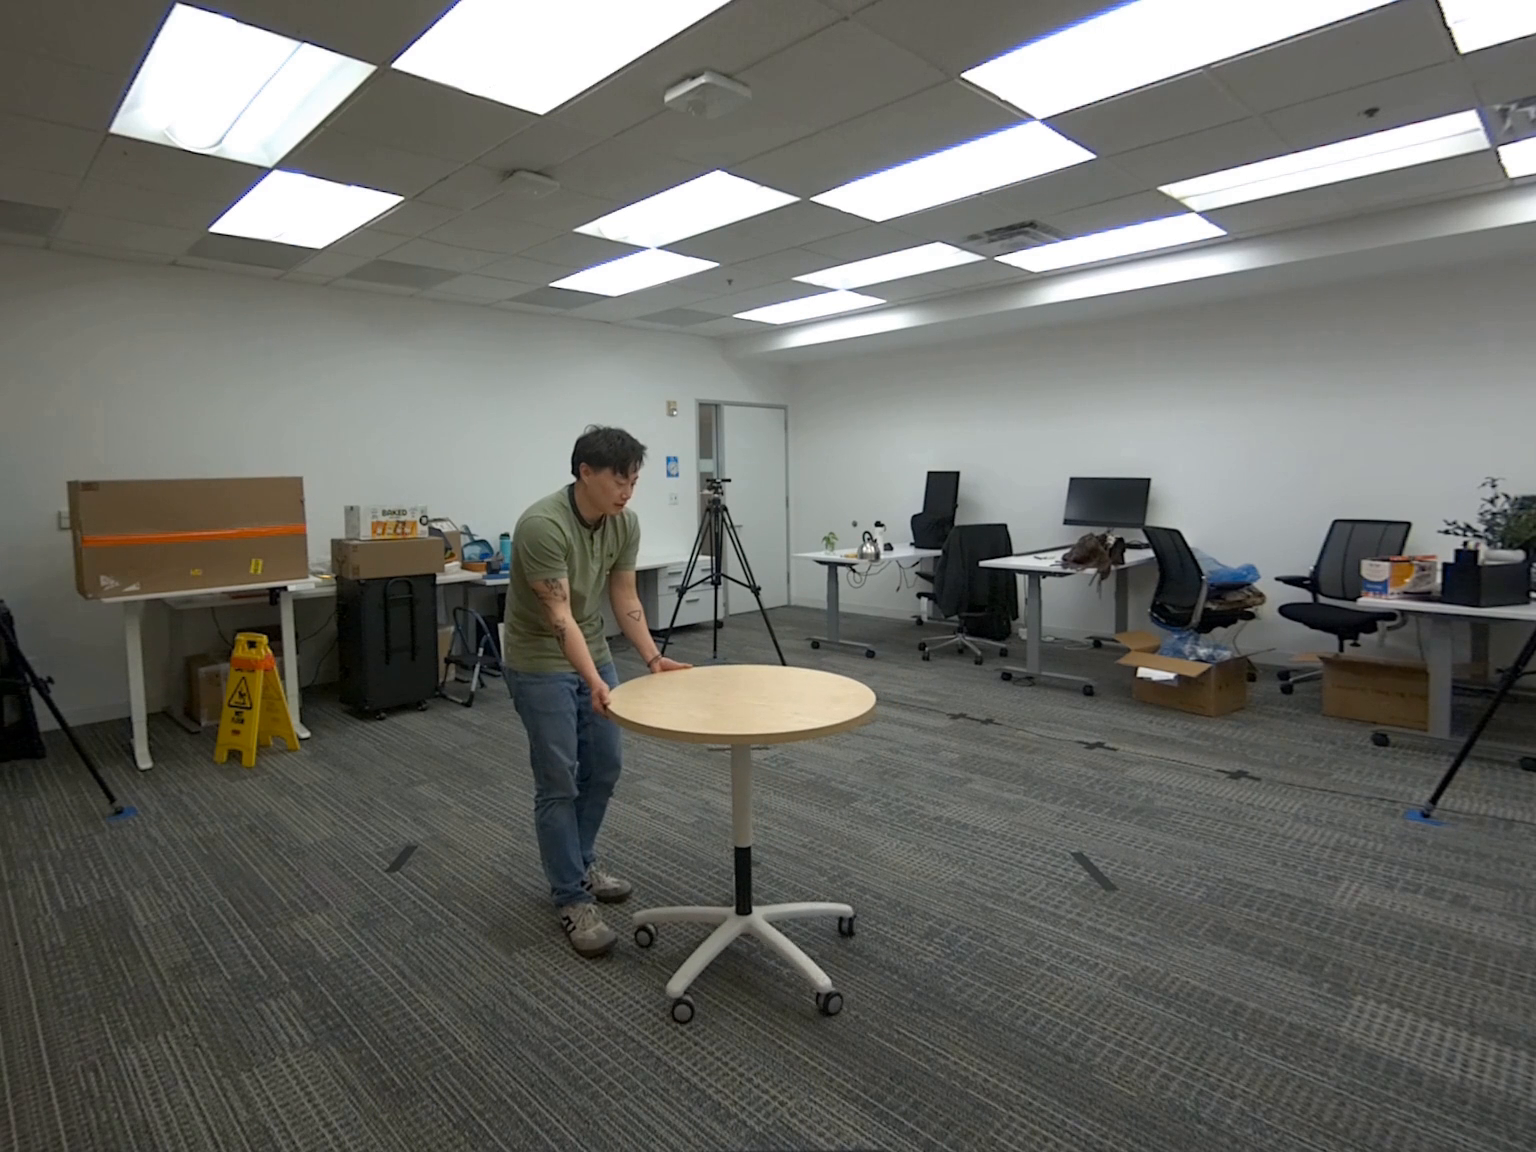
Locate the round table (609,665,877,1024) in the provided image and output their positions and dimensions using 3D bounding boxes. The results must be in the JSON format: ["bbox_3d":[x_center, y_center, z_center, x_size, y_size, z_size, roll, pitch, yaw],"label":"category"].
[{"bbox_3d":[-0.067,0.732,2.464,0.763,0.790,0.768,-1,5,-2],"label":"round table"}]
